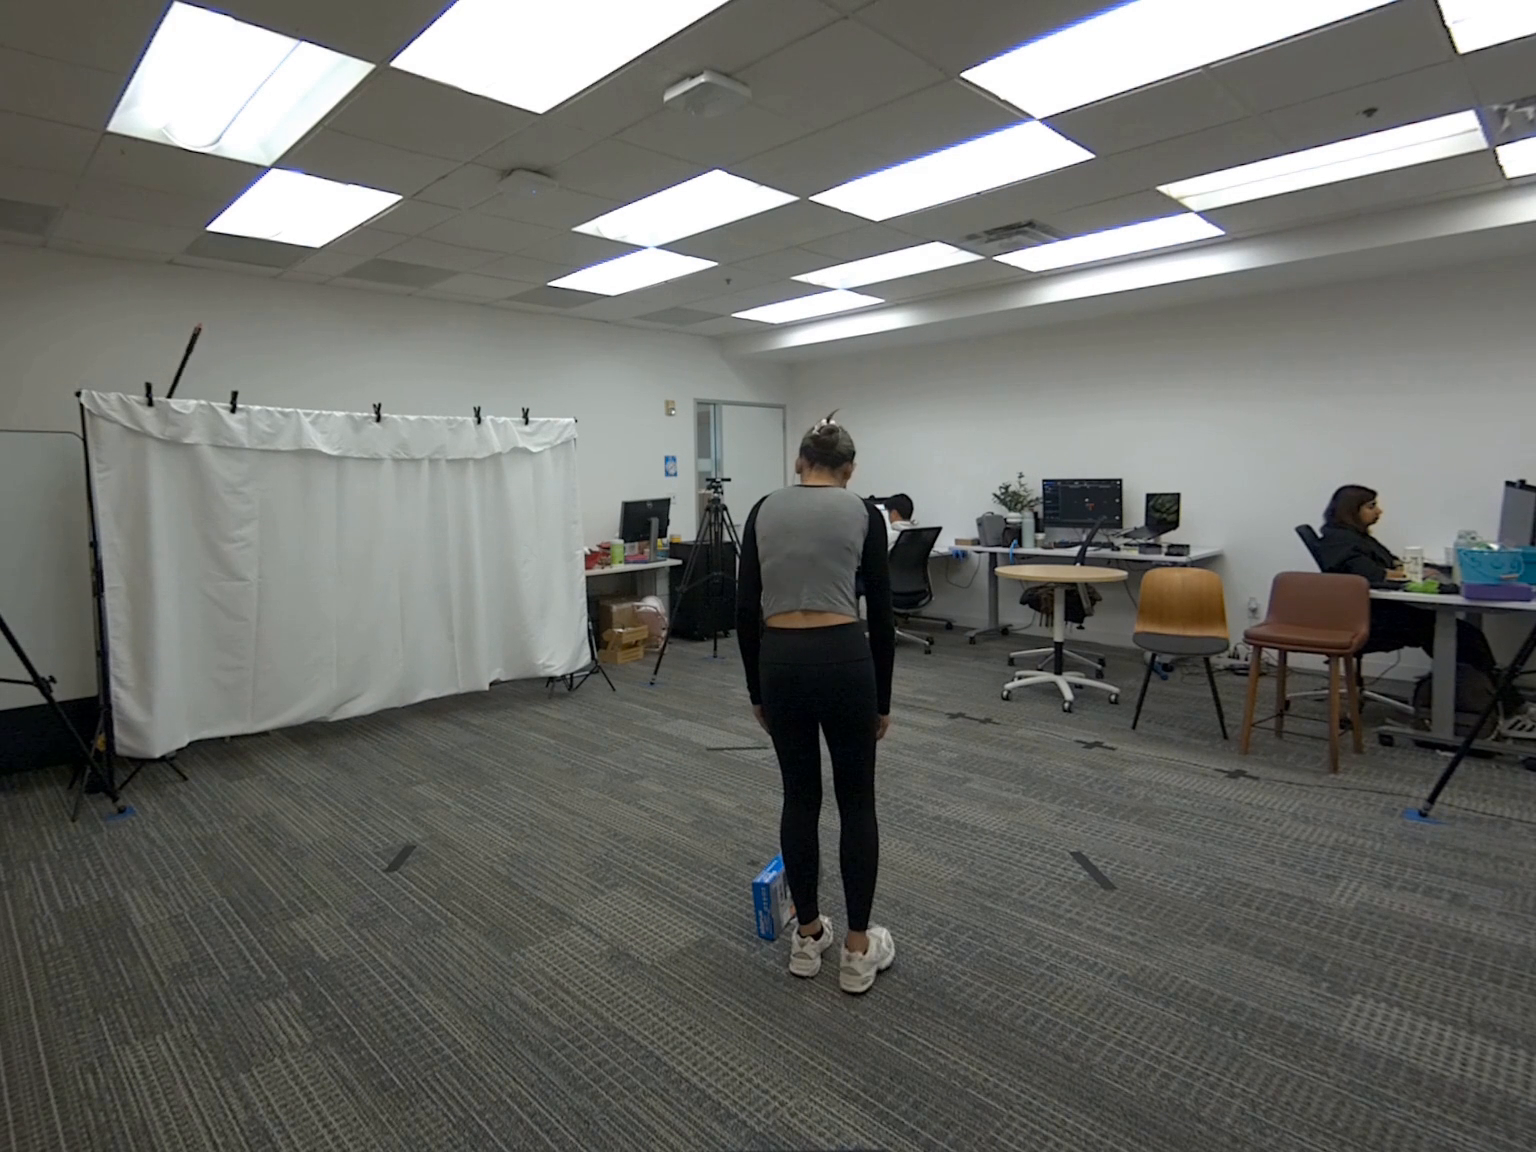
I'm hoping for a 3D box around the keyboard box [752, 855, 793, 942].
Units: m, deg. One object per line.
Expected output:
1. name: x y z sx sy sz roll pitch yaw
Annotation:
1. keyboard box: 0.079 0.989 2.781 0.060 0.175 0.429 -6 4 25
